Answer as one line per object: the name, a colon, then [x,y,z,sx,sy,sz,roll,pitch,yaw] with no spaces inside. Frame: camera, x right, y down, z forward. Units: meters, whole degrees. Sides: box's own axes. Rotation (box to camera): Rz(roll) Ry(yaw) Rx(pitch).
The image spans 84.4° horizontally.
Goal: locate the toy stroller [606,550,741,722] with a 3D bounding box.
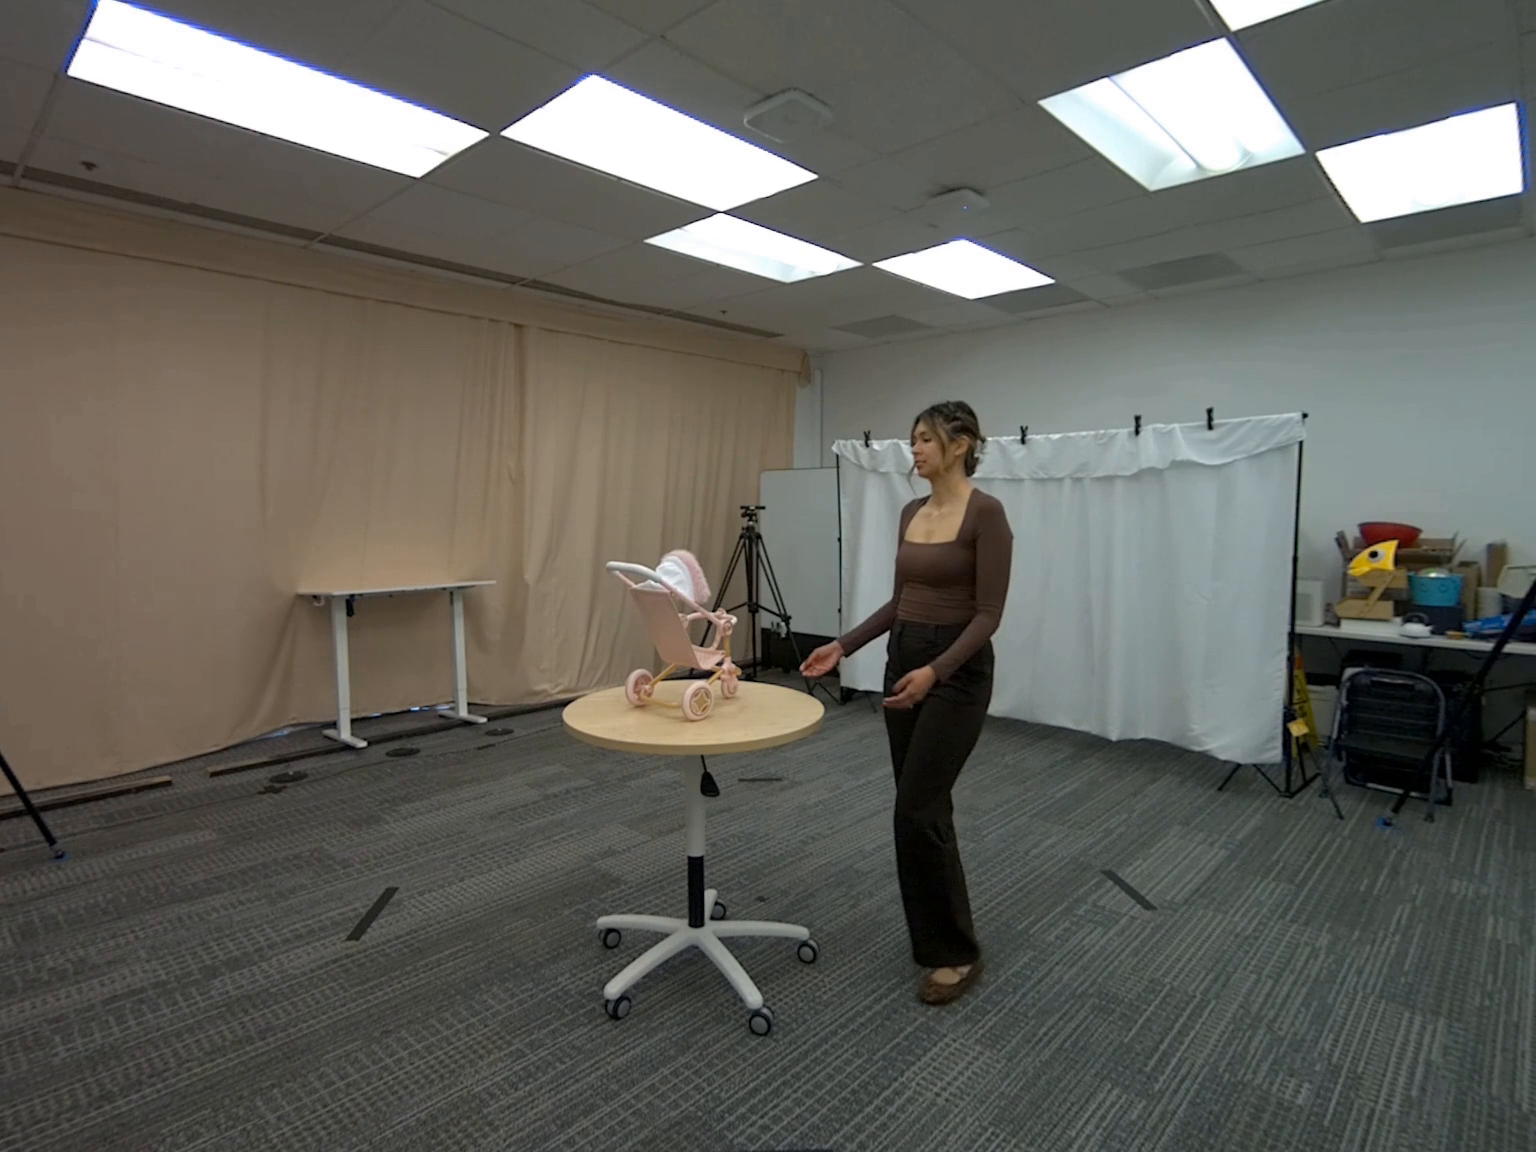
toy stroller: [-0.241,0.170,2.455,0.334,0.529,0.291,-21,16,-39]
